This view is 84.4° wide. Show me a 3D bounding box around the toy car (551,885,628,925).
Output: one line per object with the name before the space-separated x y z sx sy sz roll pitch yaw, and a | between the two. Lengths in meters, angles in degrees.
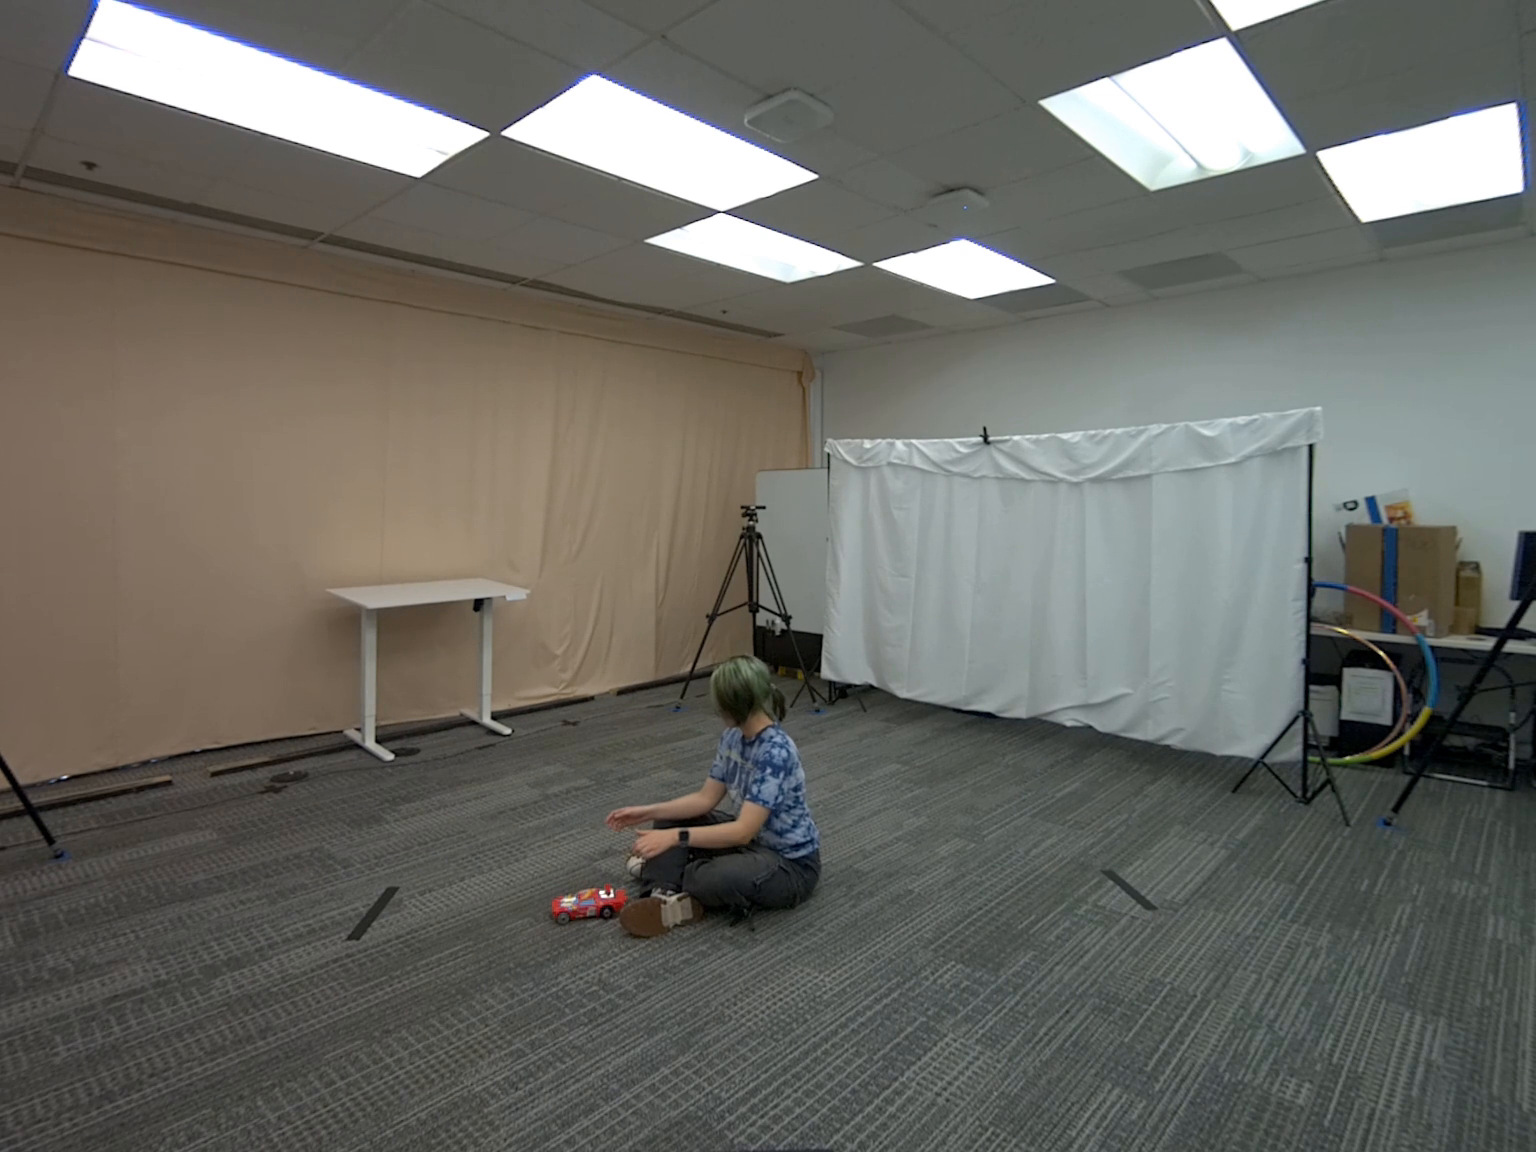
toy car | -0.609 1.124 2.887 0.251 0.083 0.132 -13 6 -14
